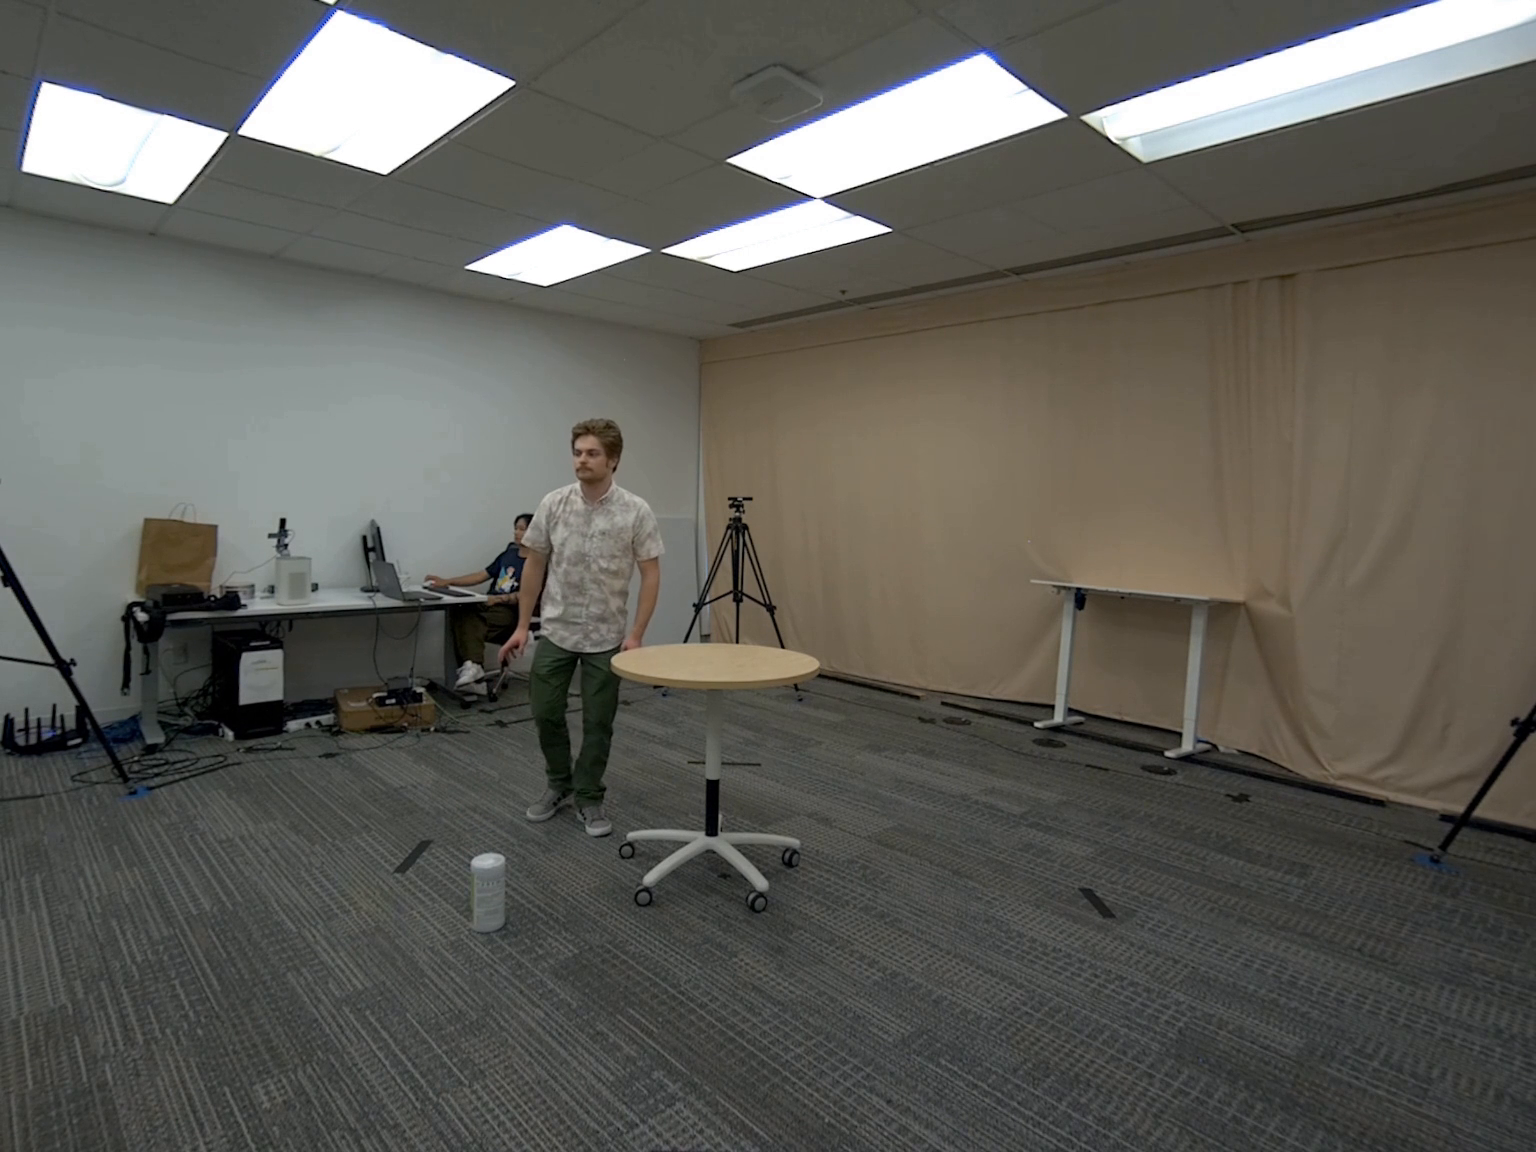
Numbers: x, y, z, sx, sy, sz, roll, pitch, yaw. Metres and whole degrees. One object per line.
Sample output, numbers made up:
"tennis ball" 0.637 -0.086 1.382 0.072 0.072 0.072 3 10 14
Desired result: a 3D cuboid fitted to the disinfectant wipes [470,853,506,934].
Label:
"disinfectant wipes" -0.917 1.022 2.704 0.118 0.217 0.118 1 5 -1
